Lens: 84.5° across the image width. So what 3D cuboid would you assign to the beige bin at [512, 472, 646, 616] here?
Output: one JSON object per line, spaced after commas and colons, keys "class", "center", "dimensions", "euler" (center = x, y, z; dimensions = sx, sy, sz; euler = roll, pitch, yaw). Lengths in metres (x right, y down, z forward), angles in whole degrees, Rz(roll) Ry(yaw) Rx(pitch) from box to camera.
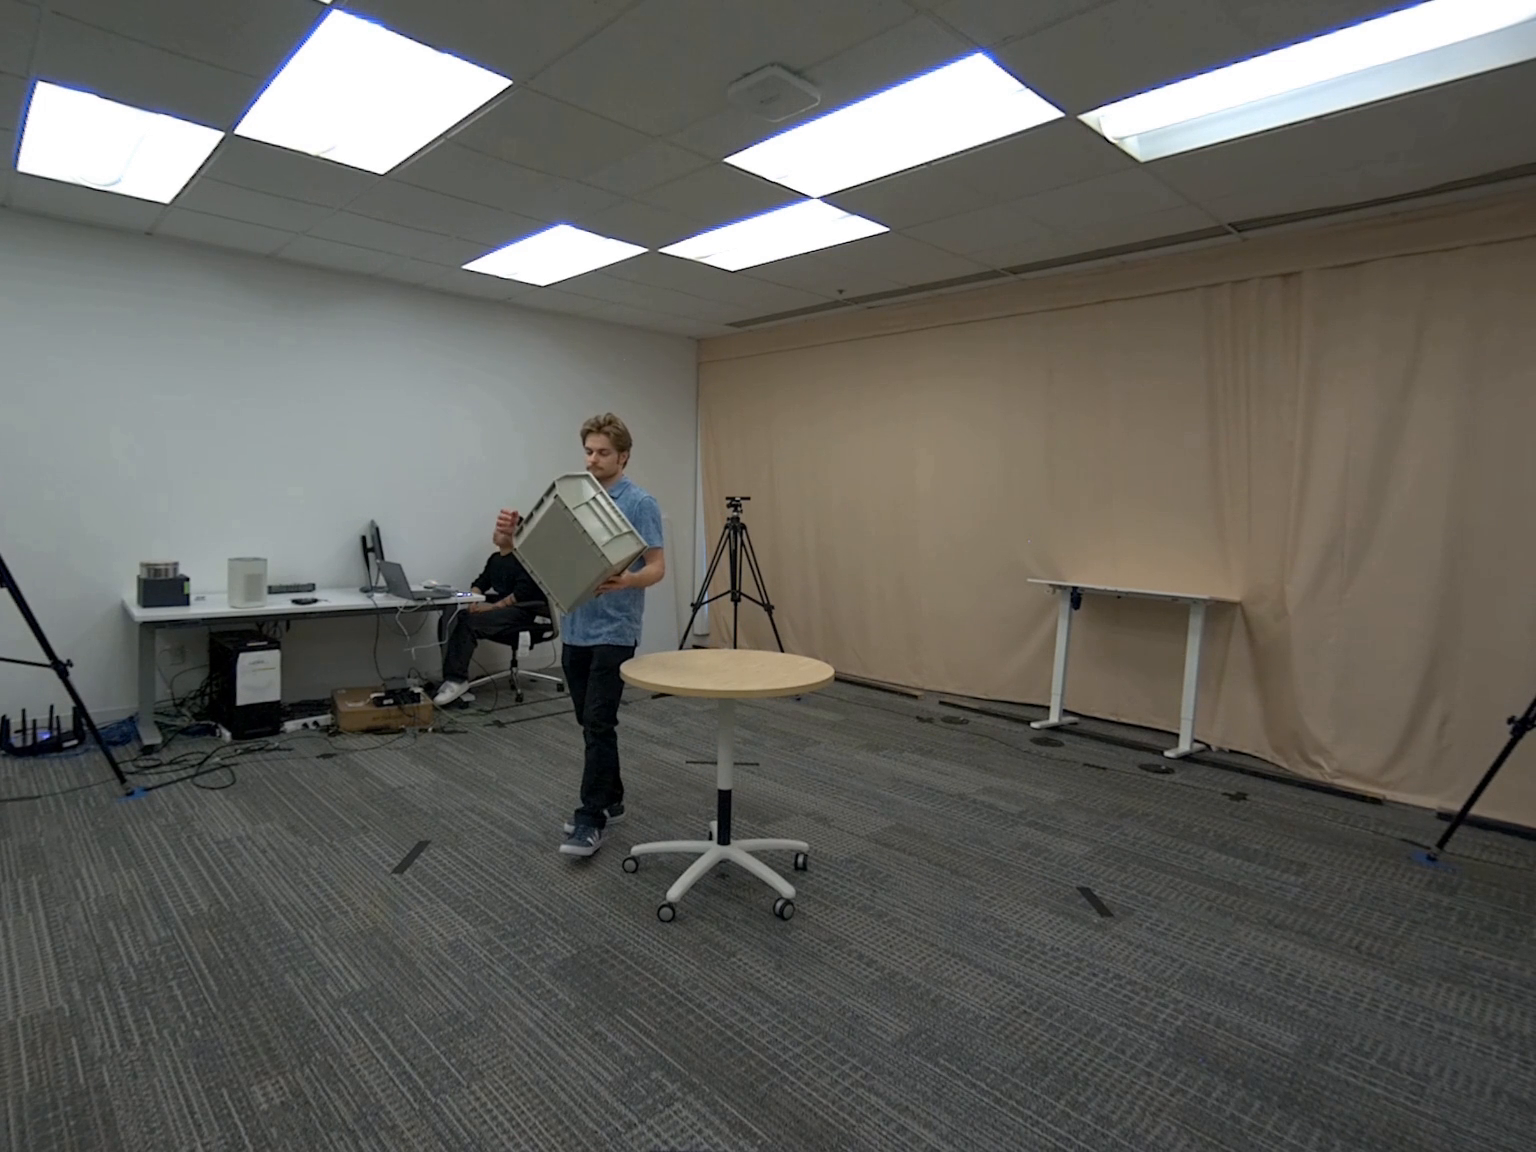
{"class": "beige bin", "center": [-0.718, -0.117, 3.054], "dimensions": [0.424, 0.379, 0.187], "euler": [-40, -4, 42]}
